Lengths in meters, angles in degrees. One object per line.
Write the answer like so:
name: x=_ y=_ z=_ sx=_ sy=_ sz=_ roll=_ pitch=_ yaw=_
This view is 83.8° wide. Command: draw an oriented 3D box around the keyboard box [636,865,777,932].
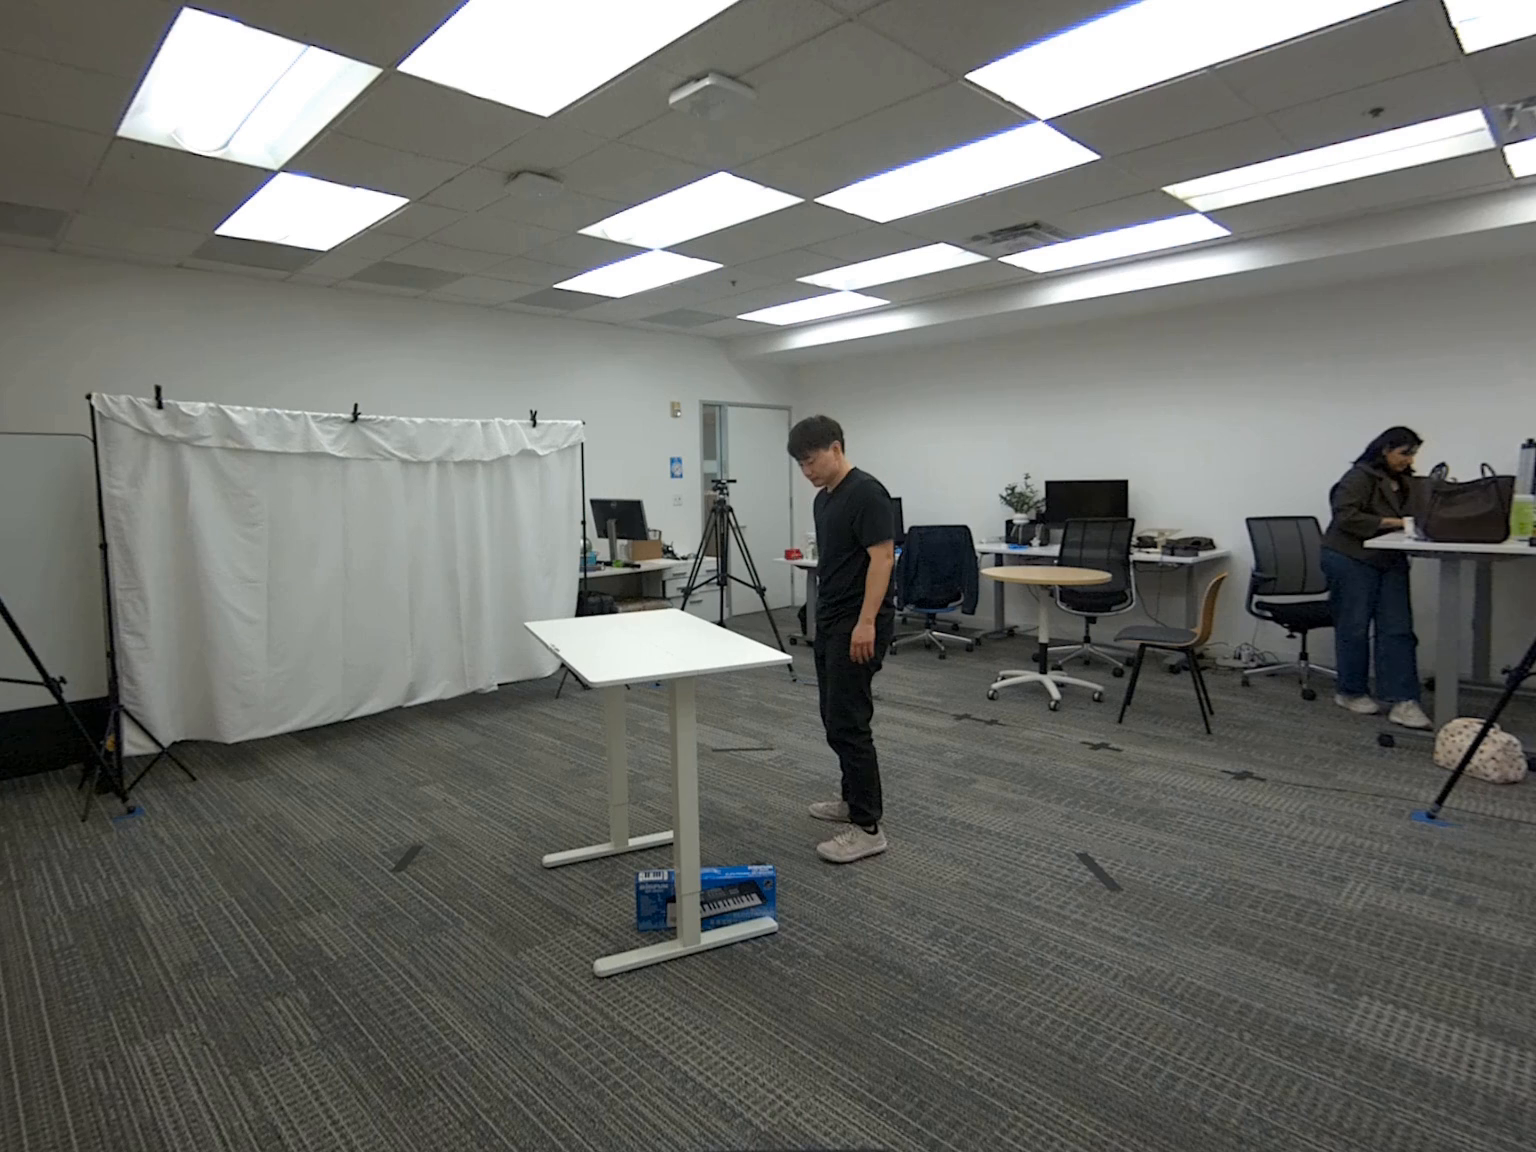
keyboard box: x=-0.191 y=1.012 z=2.679 sx=0.435 sy=0.174 sz=0.060 roll=-1 pitch=11 yaw=-4
